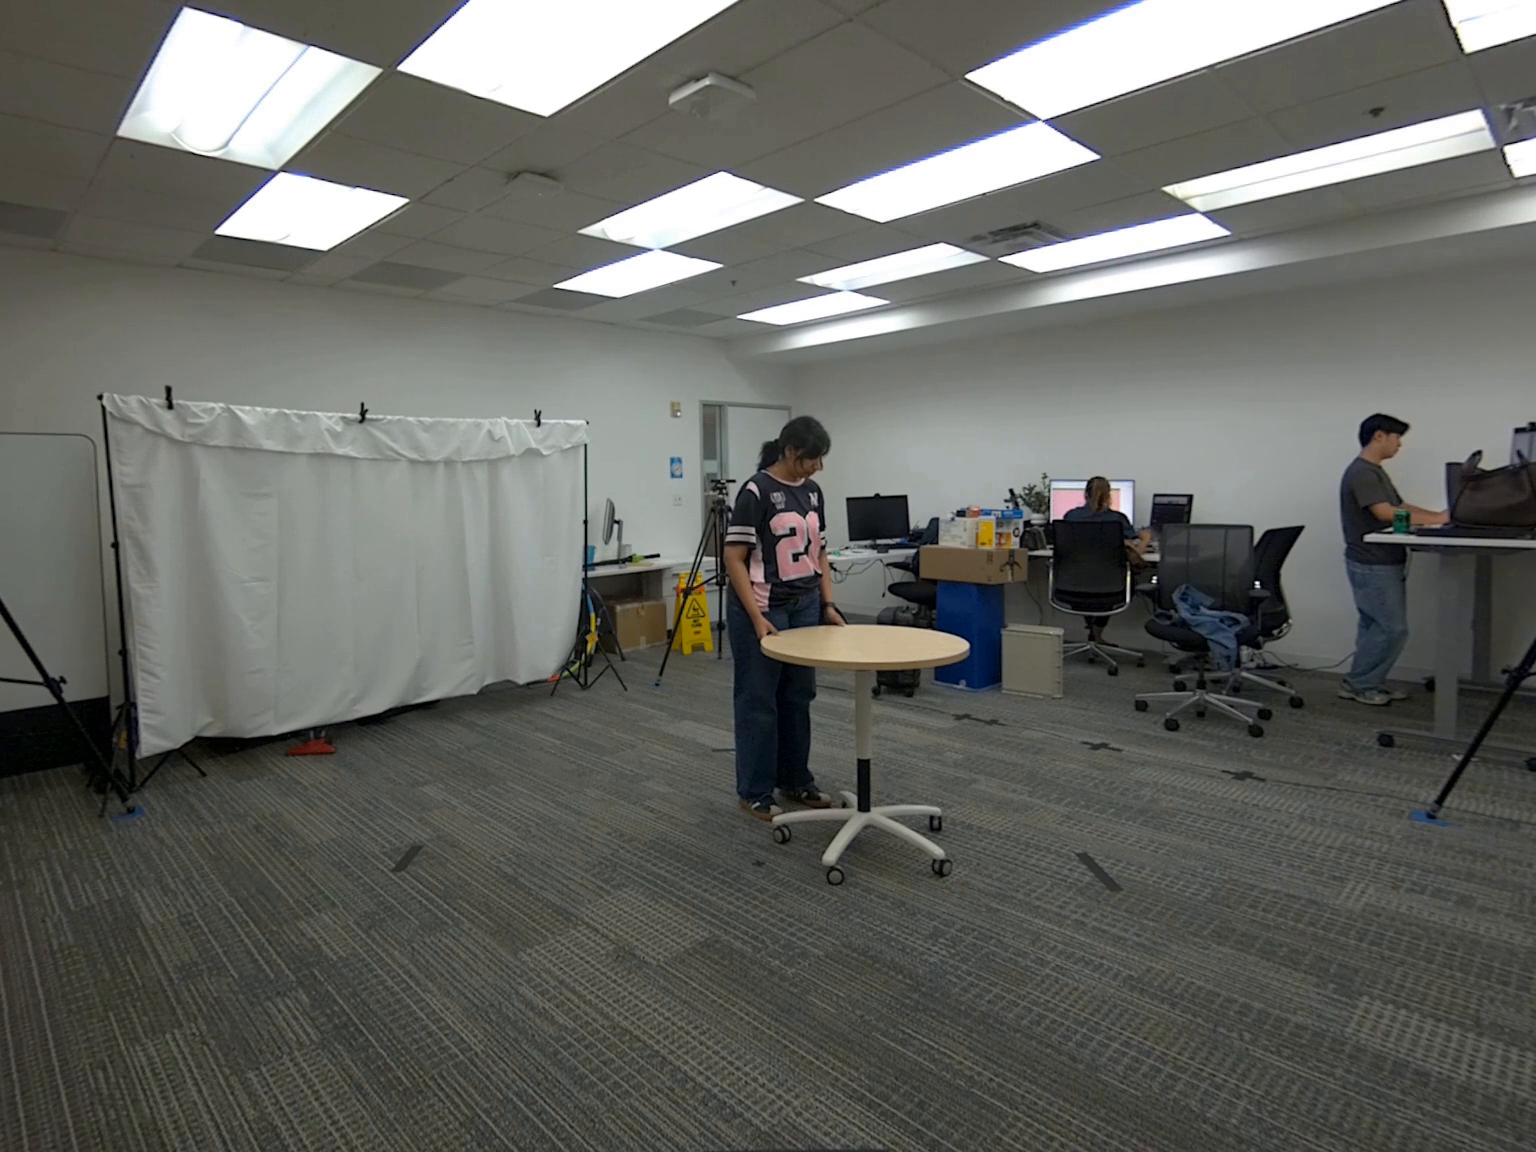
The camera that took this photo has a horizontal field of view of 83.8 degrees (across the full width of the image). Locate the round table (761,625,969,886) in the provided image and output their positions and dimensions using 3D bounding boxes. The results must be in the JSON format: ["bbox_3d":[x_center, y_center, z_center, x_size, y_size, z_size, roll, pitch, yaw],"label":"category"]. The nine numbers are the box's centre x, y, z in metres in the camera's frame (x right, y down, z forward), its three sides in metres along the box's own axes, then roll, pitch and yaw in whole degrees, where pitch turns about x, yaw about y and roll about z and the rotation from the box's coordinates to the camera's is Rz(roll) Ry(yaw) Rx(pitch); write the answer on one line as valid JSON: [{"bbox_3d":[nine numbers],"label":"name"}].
[{"bbox_3d":[0.367,0.639,3.208,0.763,0.791,0.768,-1,5,-2],"label":"round table"}]
